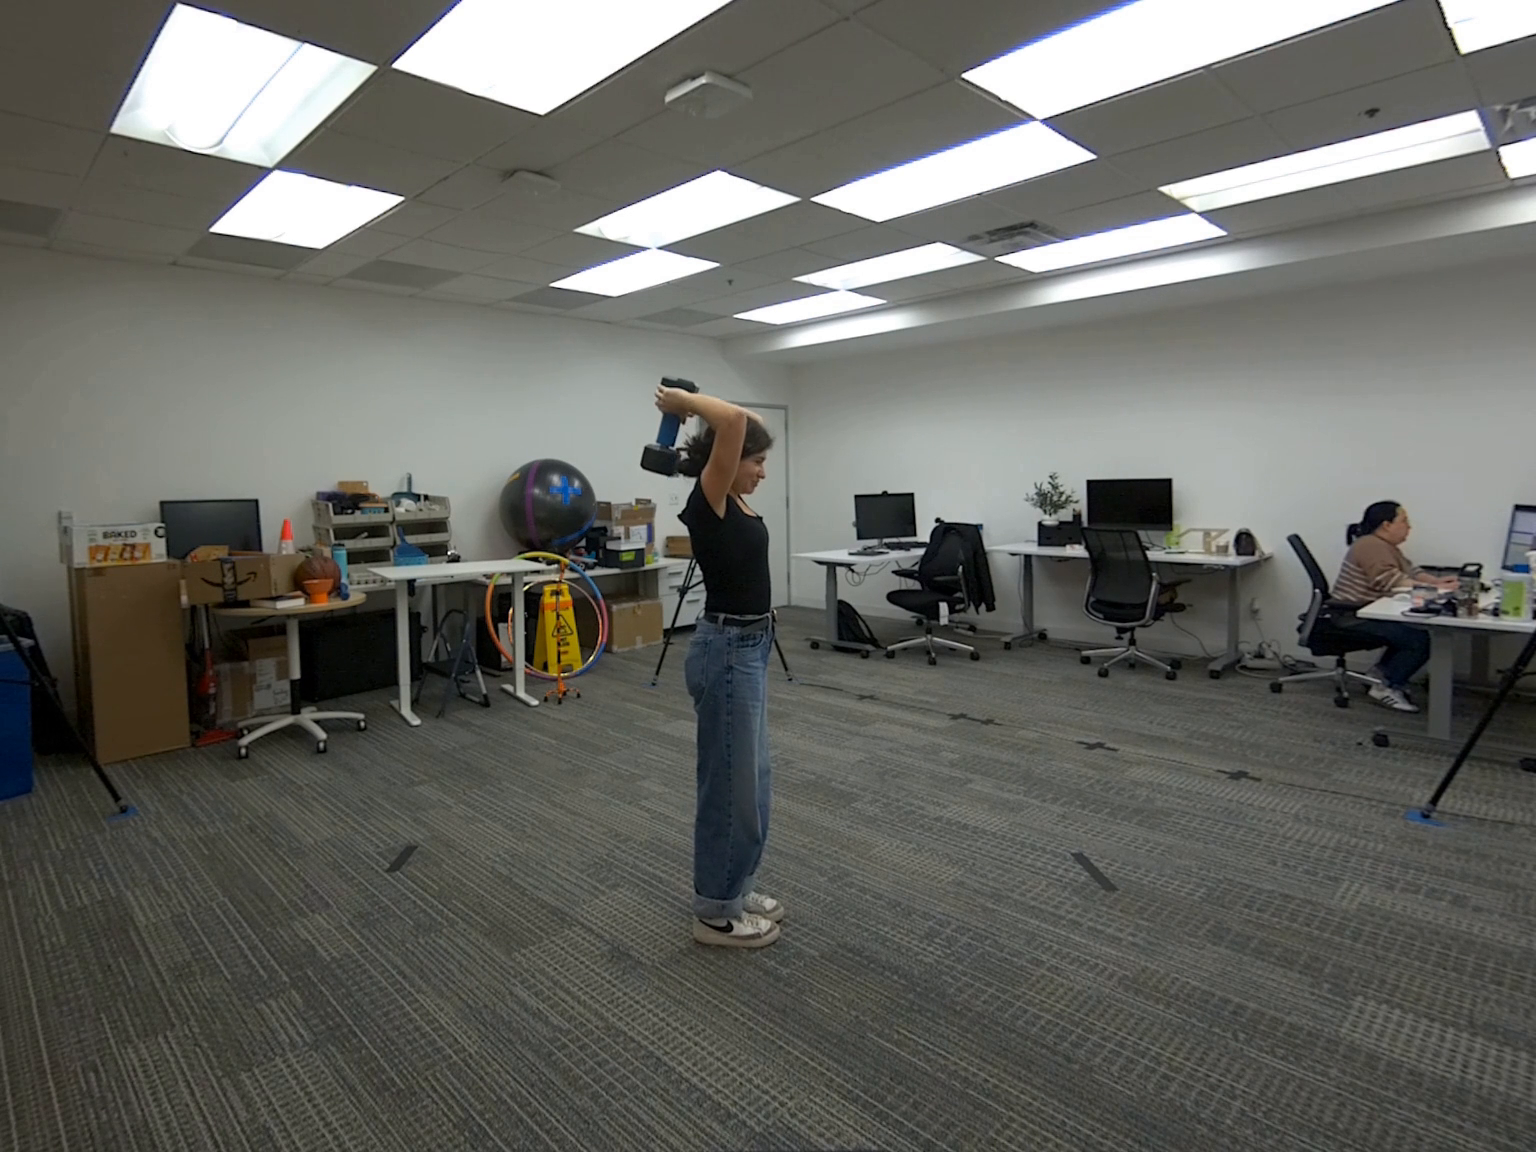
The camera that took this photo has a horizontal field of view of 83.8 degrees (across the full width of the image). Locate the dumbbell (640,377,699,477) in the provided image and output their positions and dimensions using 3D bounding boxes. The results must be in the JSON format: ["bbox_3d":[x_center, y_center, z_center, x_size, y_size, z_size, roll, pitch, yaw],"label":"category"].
[{"bbox_3d":[-0.289,-0.455,2.585,0.127,0.292,0.105,22,11,35],"label":"dumbbell"}]
